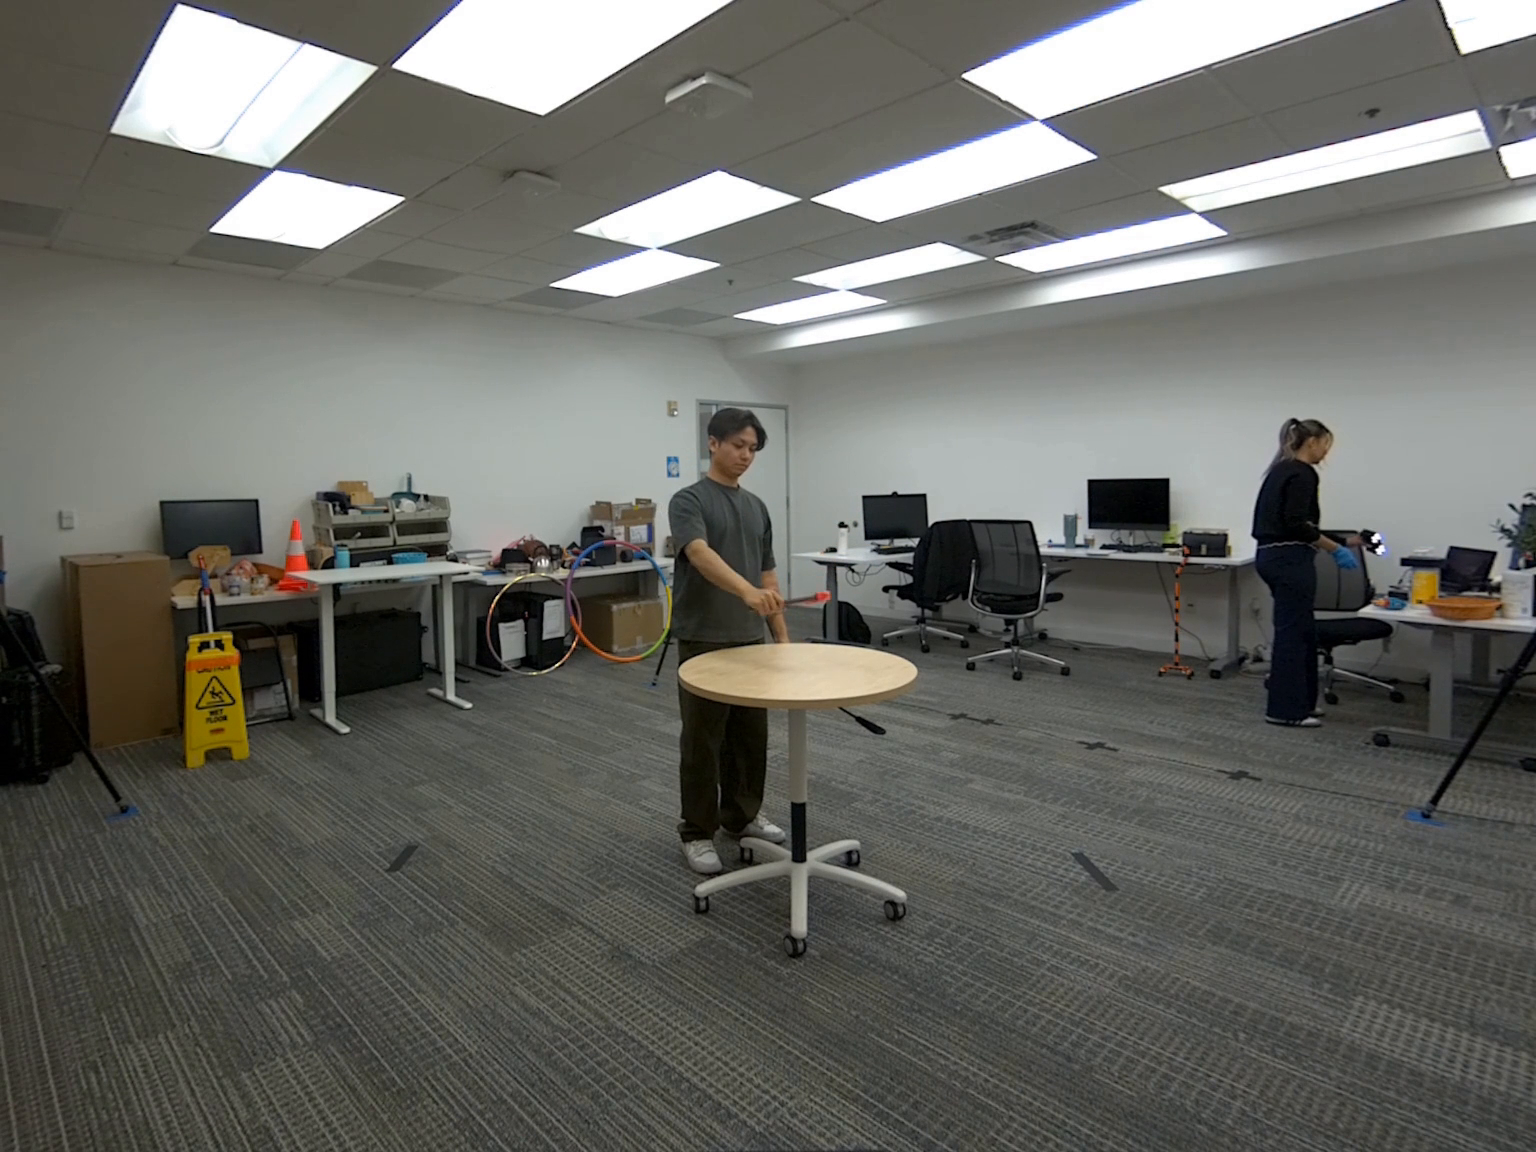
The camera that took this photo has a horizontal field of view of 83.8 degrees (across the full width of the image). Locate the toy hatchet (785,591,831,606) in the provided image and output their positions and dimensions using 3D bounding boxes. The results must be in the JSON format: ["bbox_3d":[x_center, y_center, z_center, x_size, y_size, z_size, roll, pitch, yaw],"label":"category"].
[{"bbox_3d":[0.063,0.083,2.752,0.272,0.030,0.129,-8,-7,7],"label":"toy hatchet"}]
